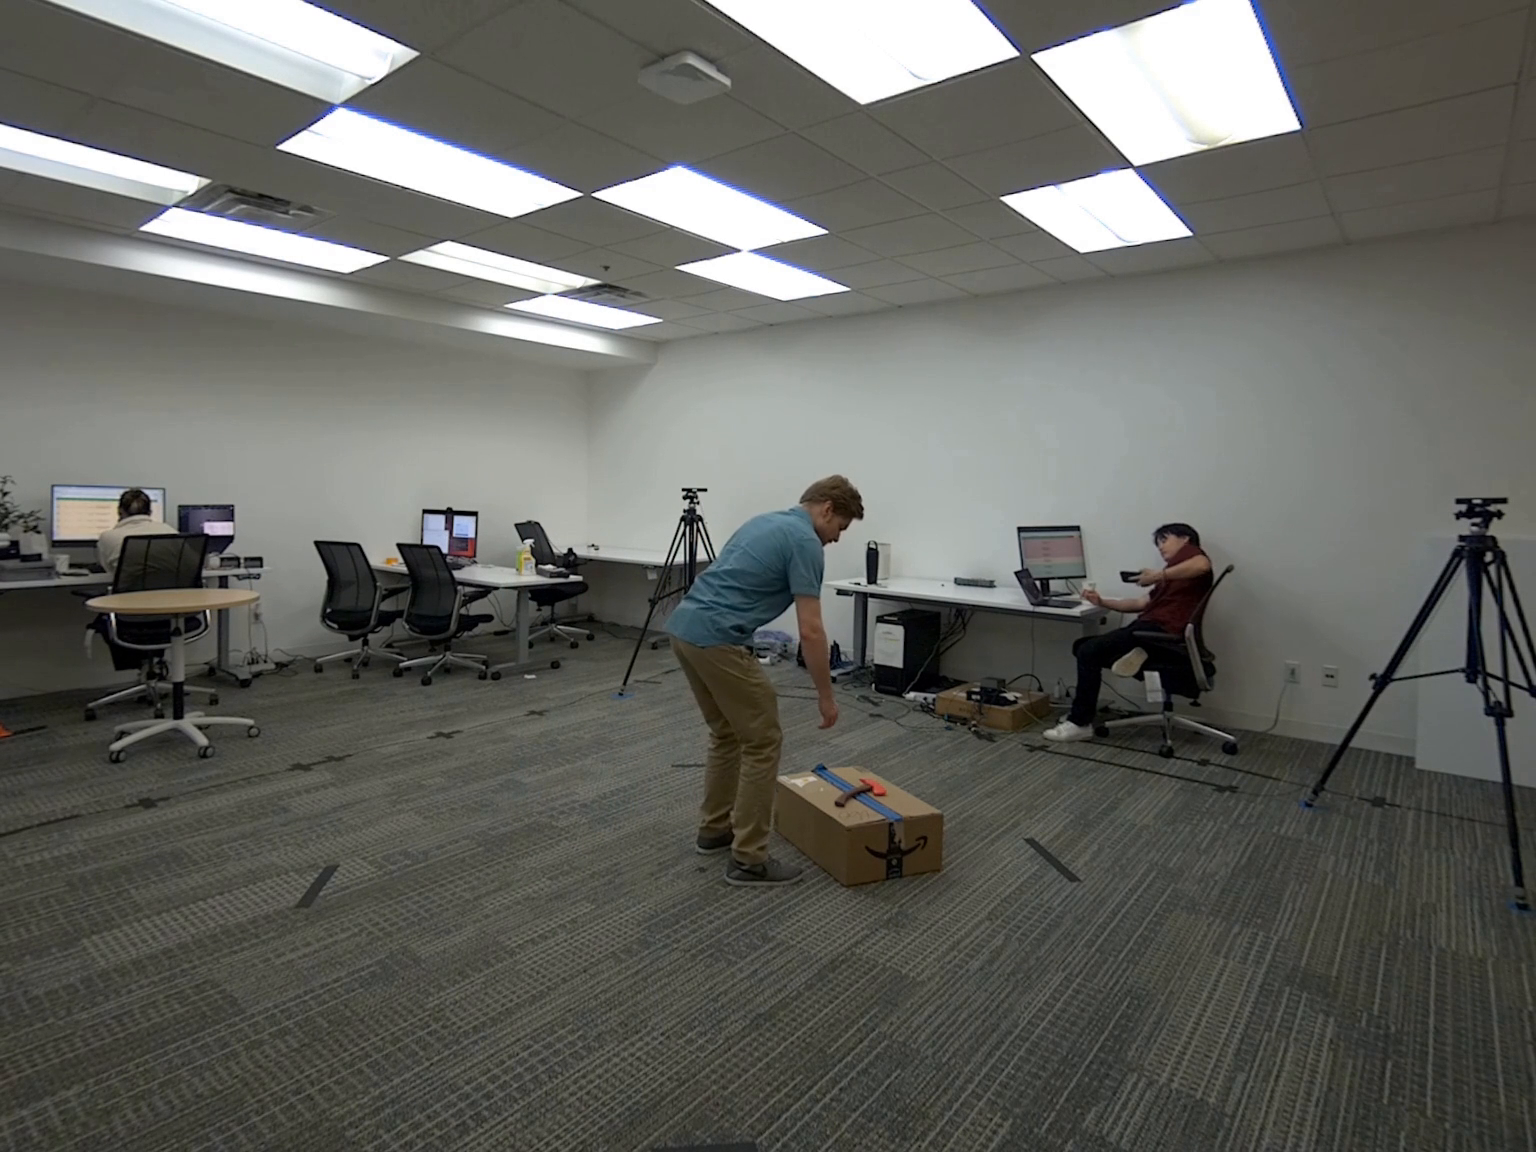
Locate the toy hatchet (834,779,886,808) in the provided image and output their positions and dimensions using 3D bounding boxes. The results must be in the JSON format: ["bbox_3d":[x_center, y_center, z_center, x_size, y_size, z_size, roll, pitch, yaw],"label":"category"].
[{"bbox_3d":[0.357,0.839,3.259,0.135,0.029,0.263,9,11,30],"label":"toy hatchet"}]
